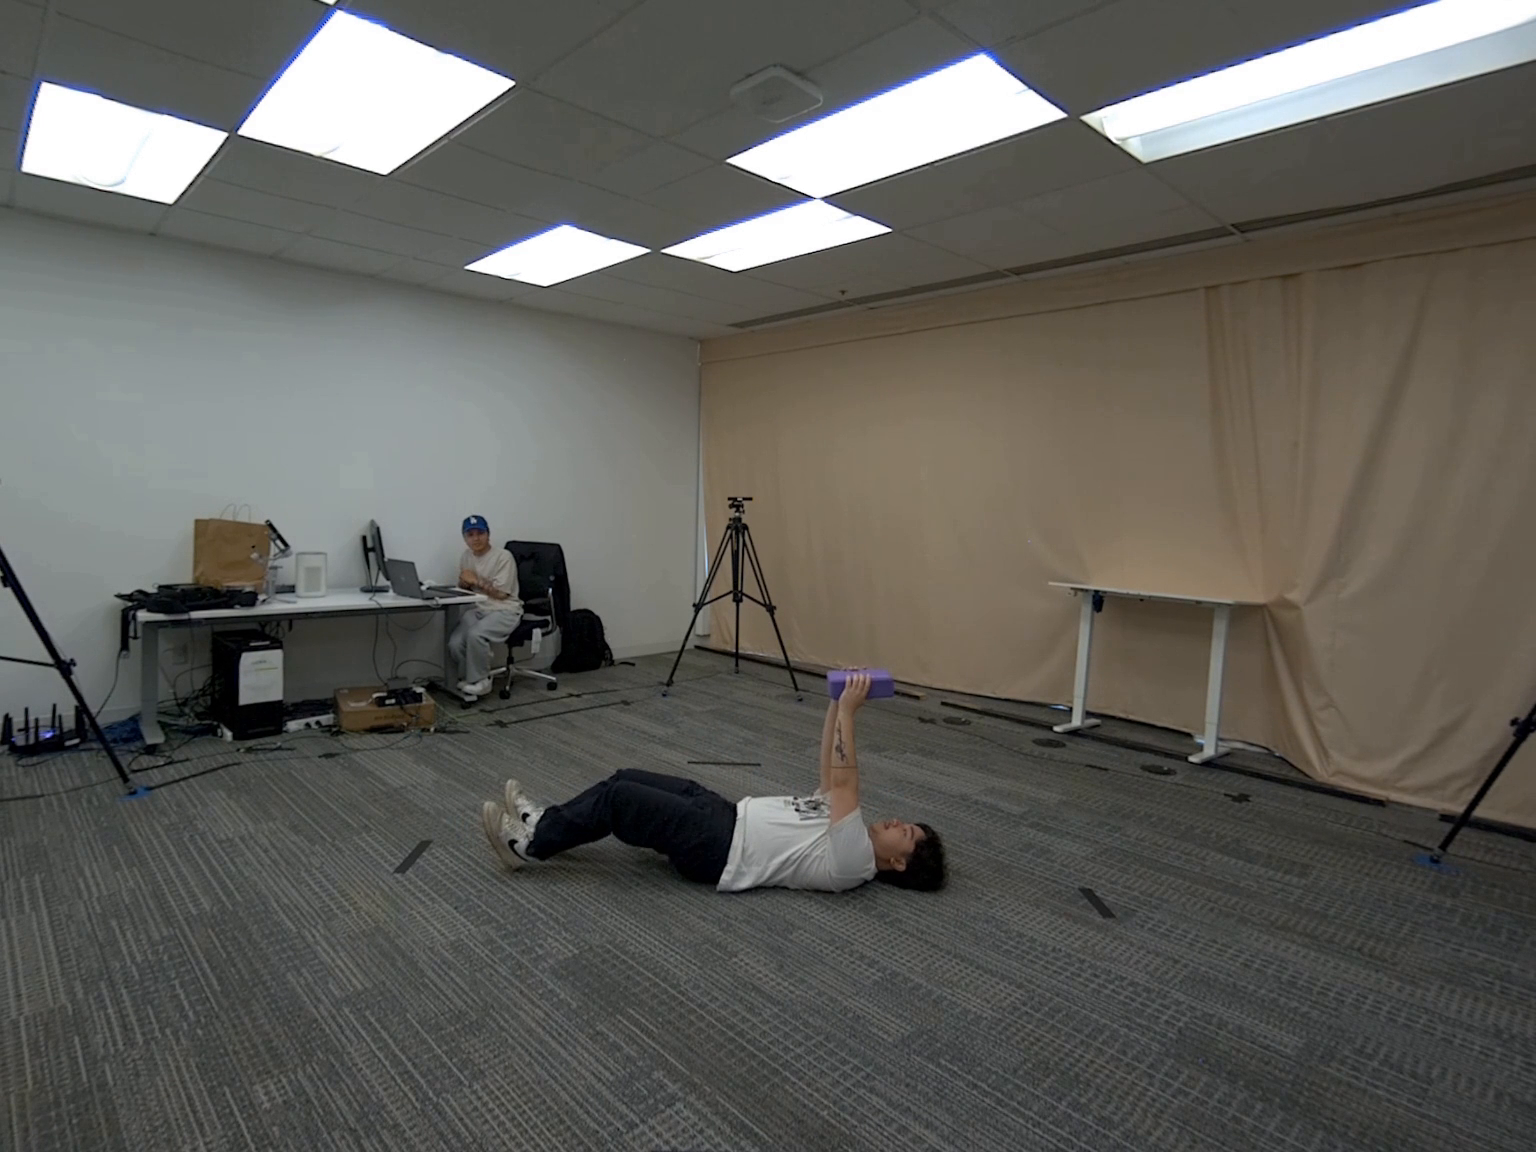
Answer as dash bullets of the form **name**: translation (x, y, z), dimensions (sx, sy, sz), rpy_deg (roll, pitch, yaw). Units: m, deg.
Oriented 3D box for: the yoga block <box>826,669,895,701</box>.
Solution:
- **yoga block**: translation (0.336, 0.404, 3.115), dimensions (0.230, 0.076, 0.149), rpy_deg (-1, 6, 2)
